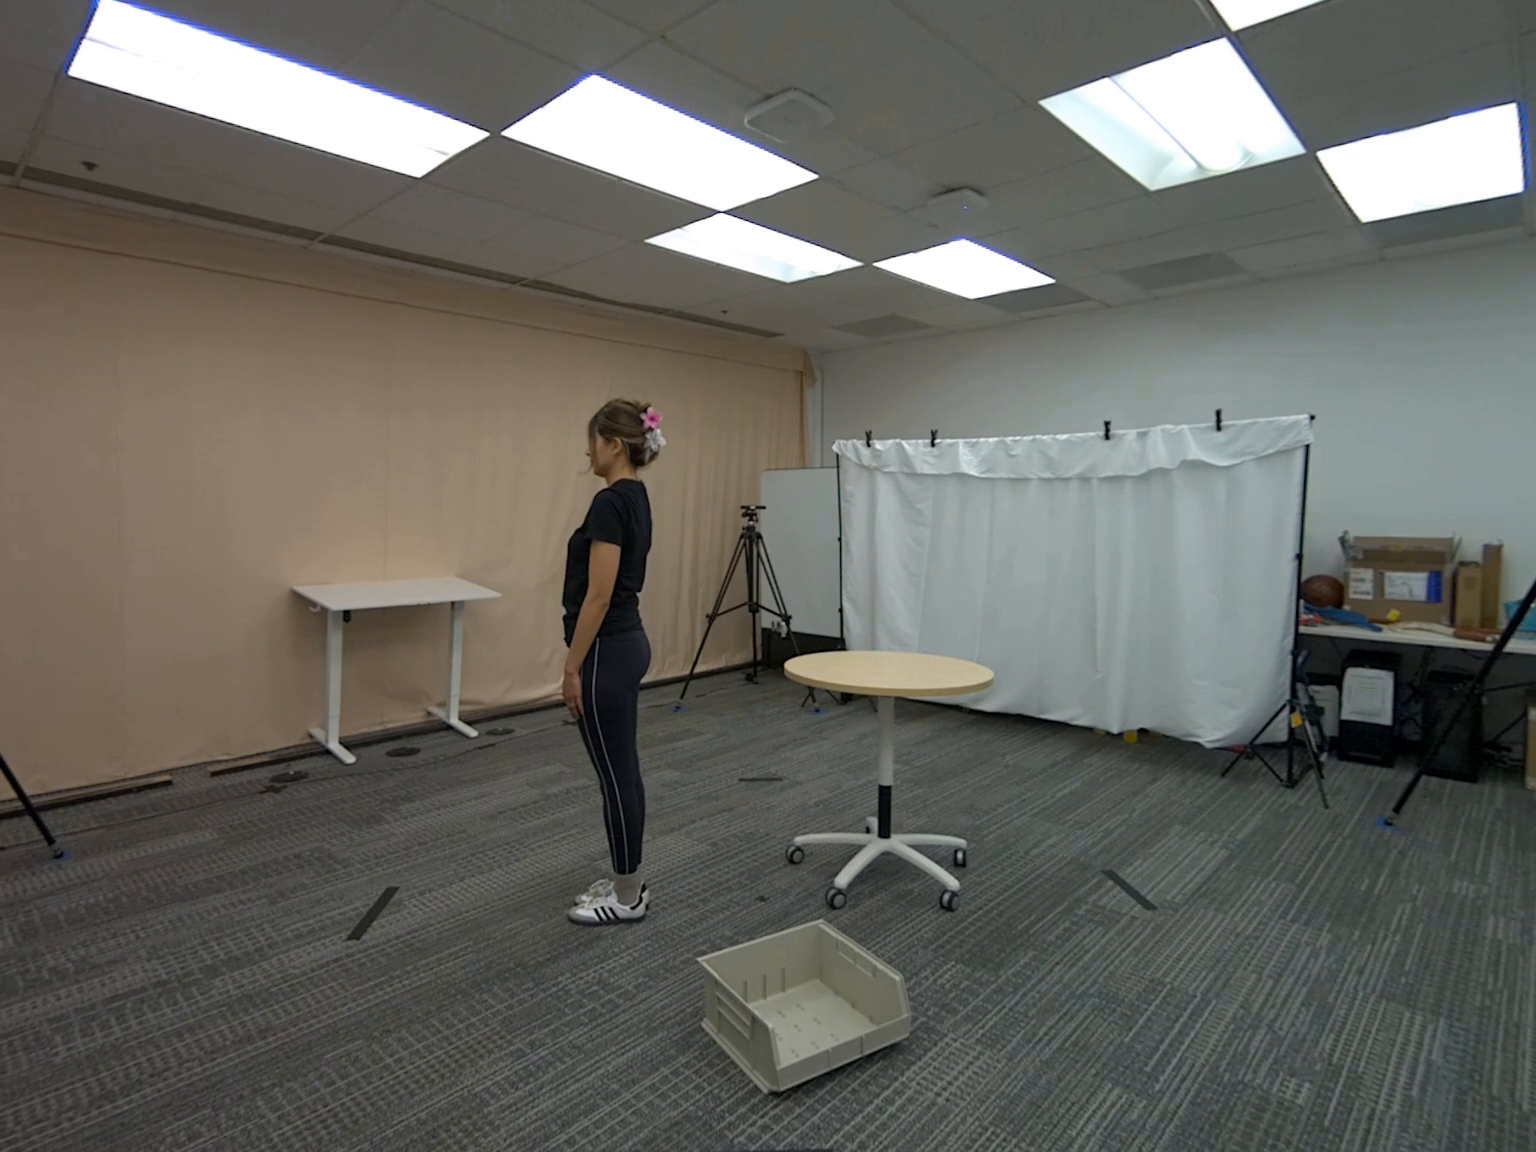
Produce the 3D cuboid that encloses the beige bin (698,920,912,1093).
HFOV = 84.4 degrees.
[{"bbox_3d":[0.092,1.121,2.203,0.411,0.188,0.389,-3,5,-32],"label":"beige bin"}]
